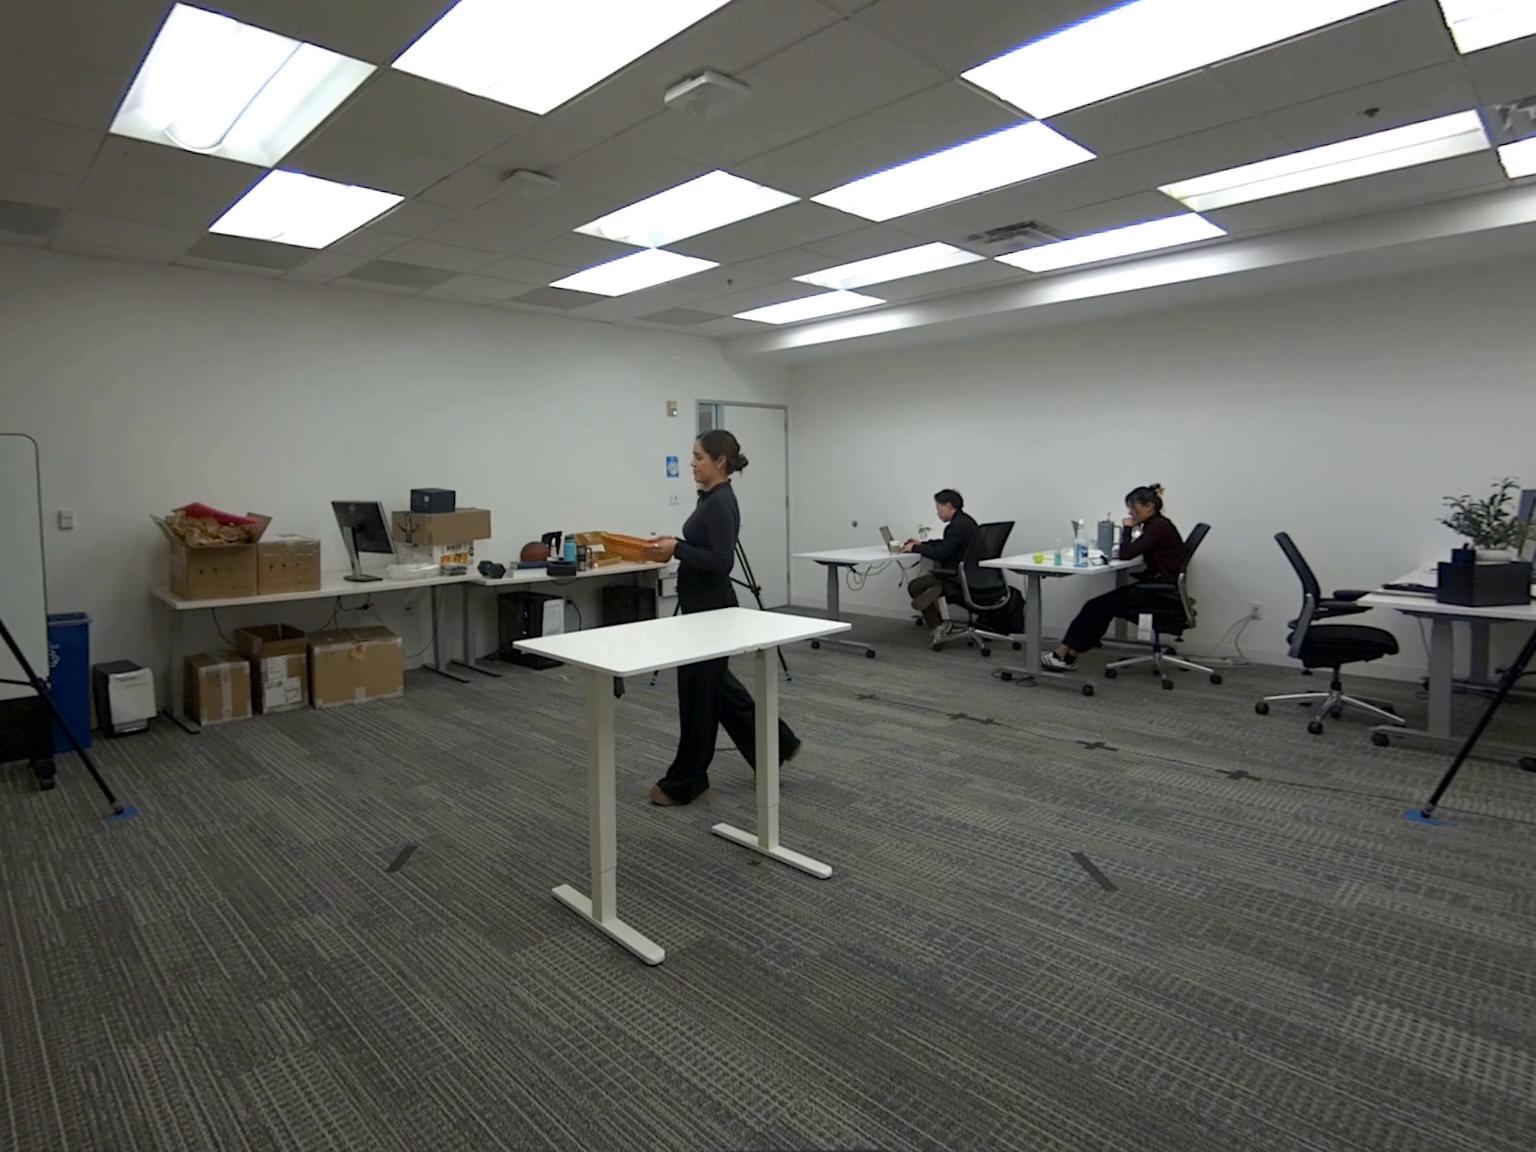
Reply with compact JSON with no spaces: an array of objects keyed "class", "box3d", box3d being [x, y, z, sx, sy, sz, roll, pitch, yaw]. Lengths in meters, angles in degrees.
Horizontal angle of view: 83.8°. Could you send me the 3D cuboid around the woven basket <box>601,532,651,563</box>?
[{"class":"woven basket","box3d":[-0.532,-0.123,3.725,0.342,0.073,0.260,4,9,-28]}]
